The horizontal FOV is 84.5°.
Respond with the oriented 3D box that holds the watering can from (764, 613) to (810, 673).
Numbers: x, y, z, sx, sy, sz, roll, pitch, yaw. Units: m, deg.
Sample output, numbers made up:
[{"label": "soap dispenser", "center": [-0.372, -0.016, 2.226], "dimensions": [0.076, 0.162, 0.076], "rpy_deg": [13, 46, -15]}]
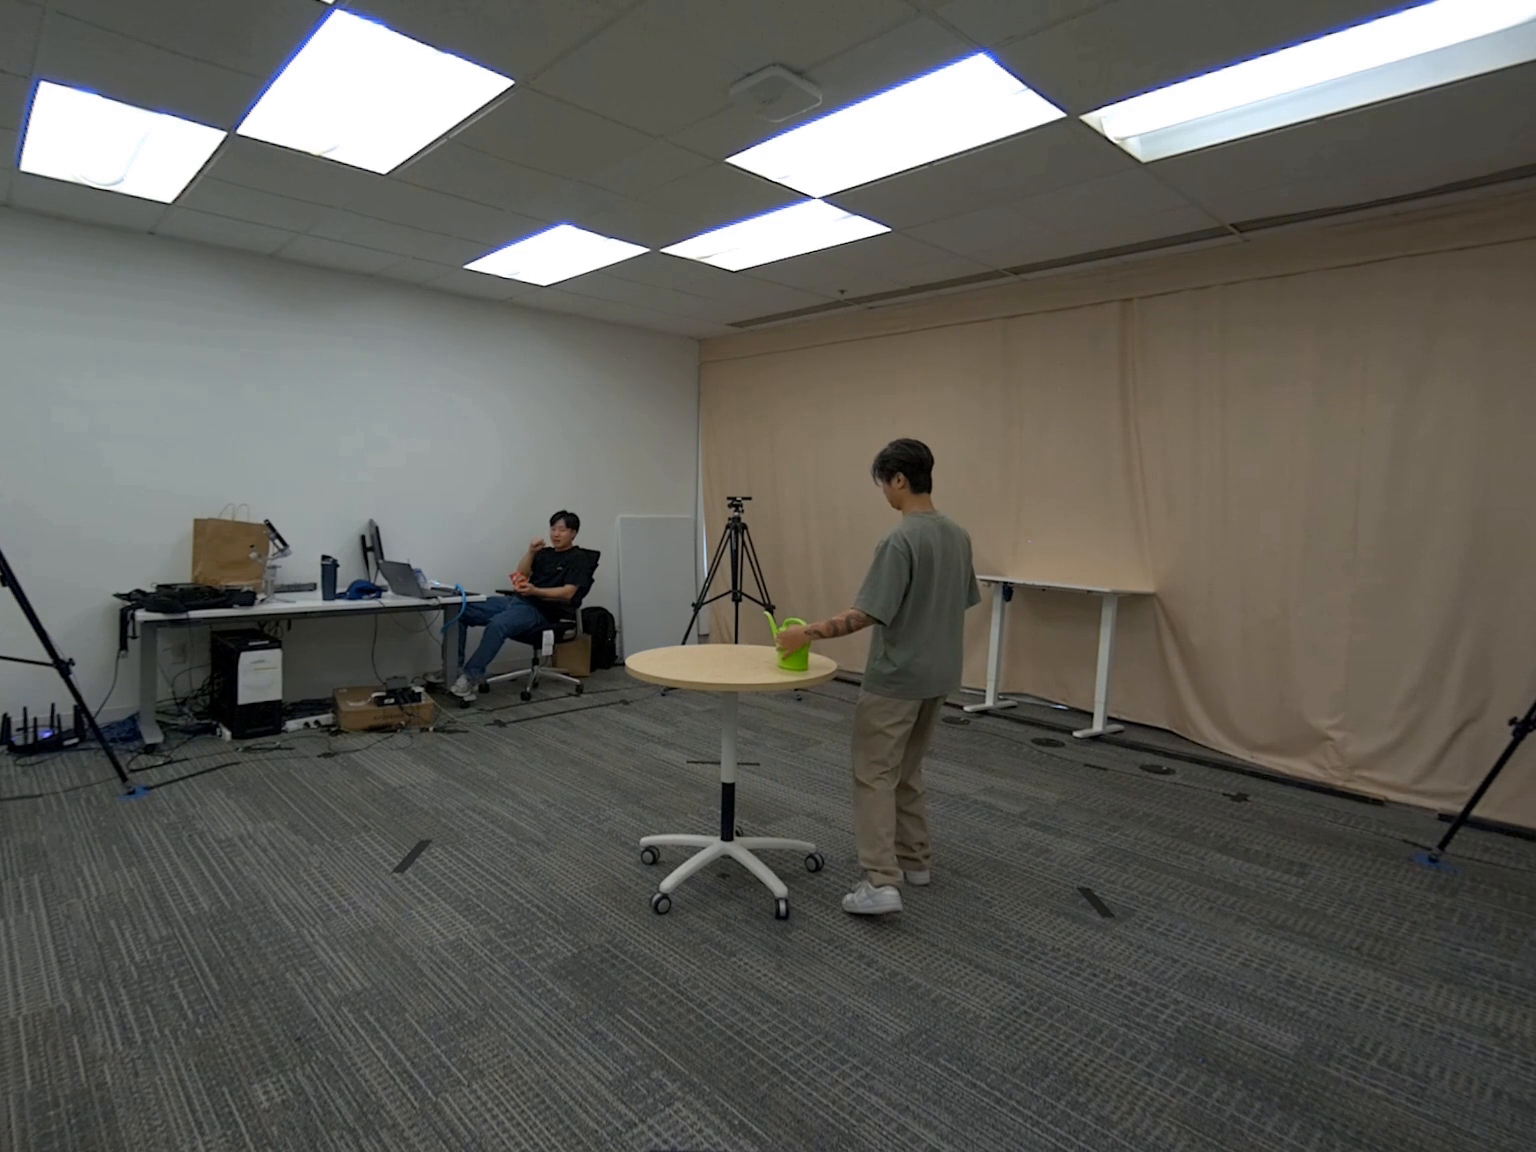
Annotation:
[{"label": "watering can", "center": [0.071, 0.234, 3.007], "dimensions": [0.096, 0.176, 0.283], "rpy_deg": [2, 6, -19]}]
